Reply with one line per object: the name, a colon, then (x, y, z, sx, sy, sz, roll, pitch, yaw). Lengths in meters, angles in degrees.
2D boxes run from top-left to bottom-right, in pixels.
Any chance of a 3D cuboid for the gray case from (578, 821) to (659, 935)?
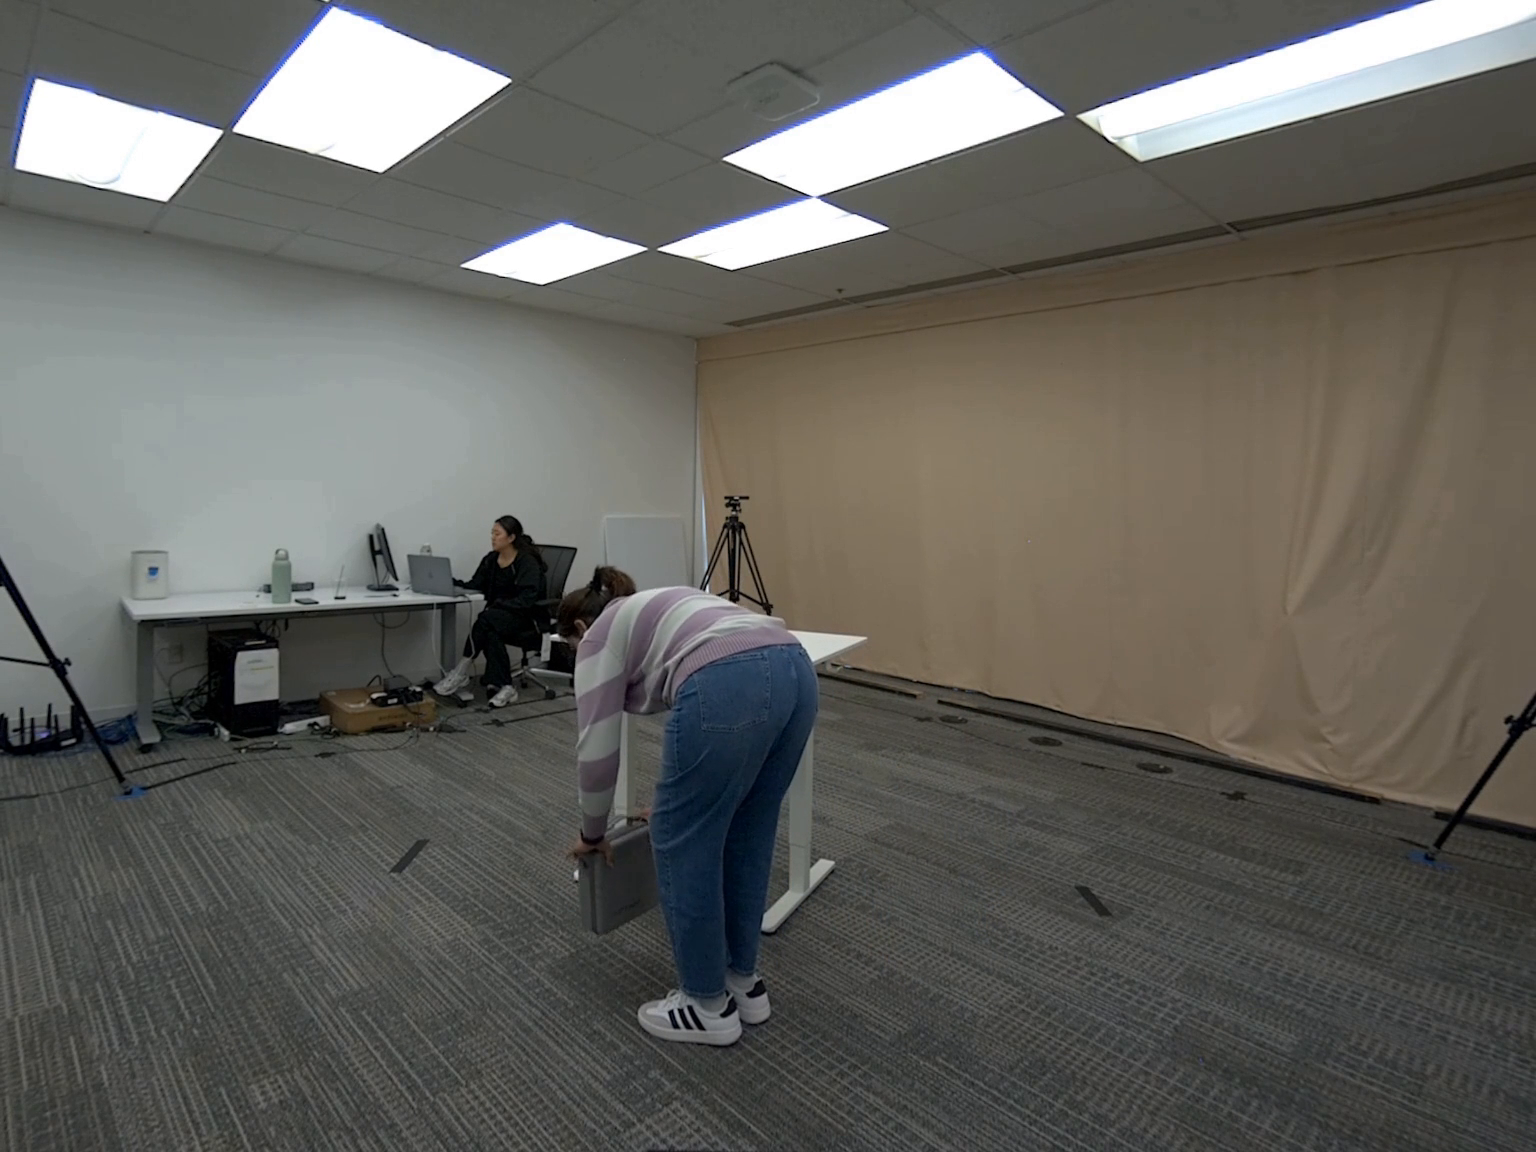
gray case: (-0.430, 0.862, 2.436, 0.107, 0.260, 0.251, -1, 3, 39)
